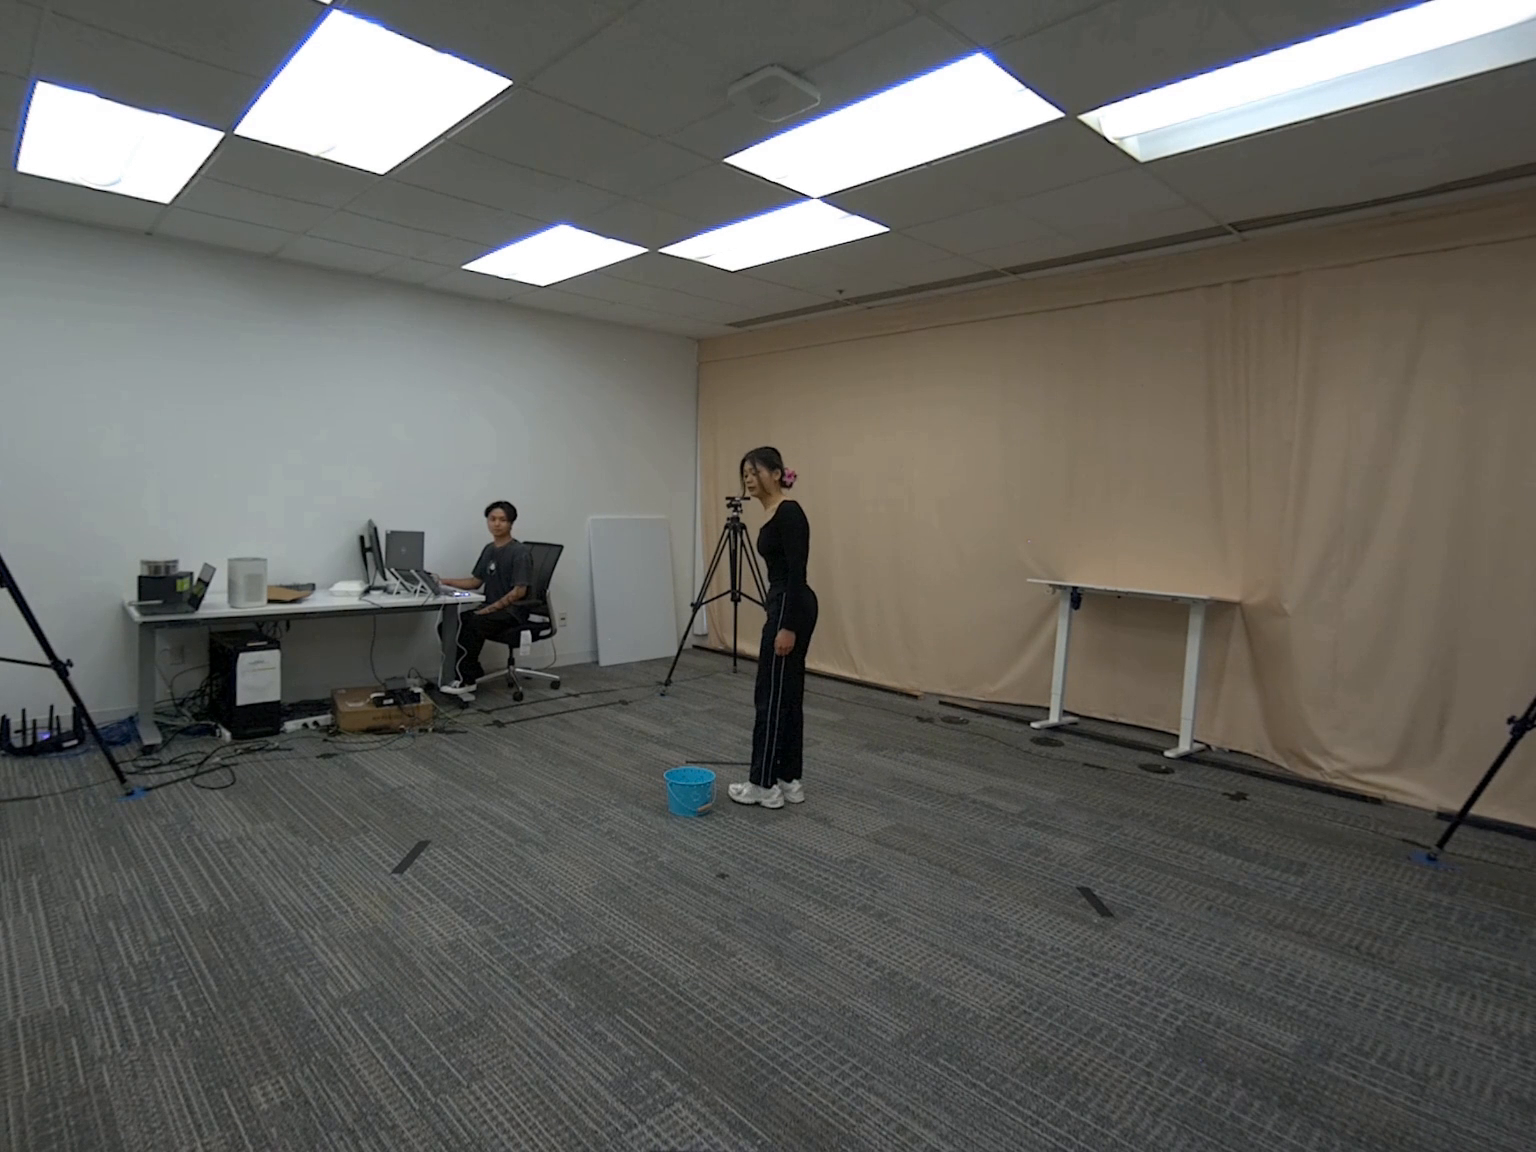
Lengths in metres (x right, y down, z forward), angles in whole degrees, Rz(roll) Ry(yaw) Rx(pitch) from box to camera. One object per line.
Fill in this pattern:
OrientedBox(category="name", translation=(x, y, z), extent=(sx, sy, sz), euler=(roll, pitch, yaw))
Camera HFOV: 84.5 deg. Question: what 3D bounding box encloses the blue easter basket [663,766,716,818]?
OrientedBox(category="blue easter basket", translation=(-0.361, 0.968, 3.768), extent=(0.243, 0.155, 0.244), euler=(1, 5, -1))
